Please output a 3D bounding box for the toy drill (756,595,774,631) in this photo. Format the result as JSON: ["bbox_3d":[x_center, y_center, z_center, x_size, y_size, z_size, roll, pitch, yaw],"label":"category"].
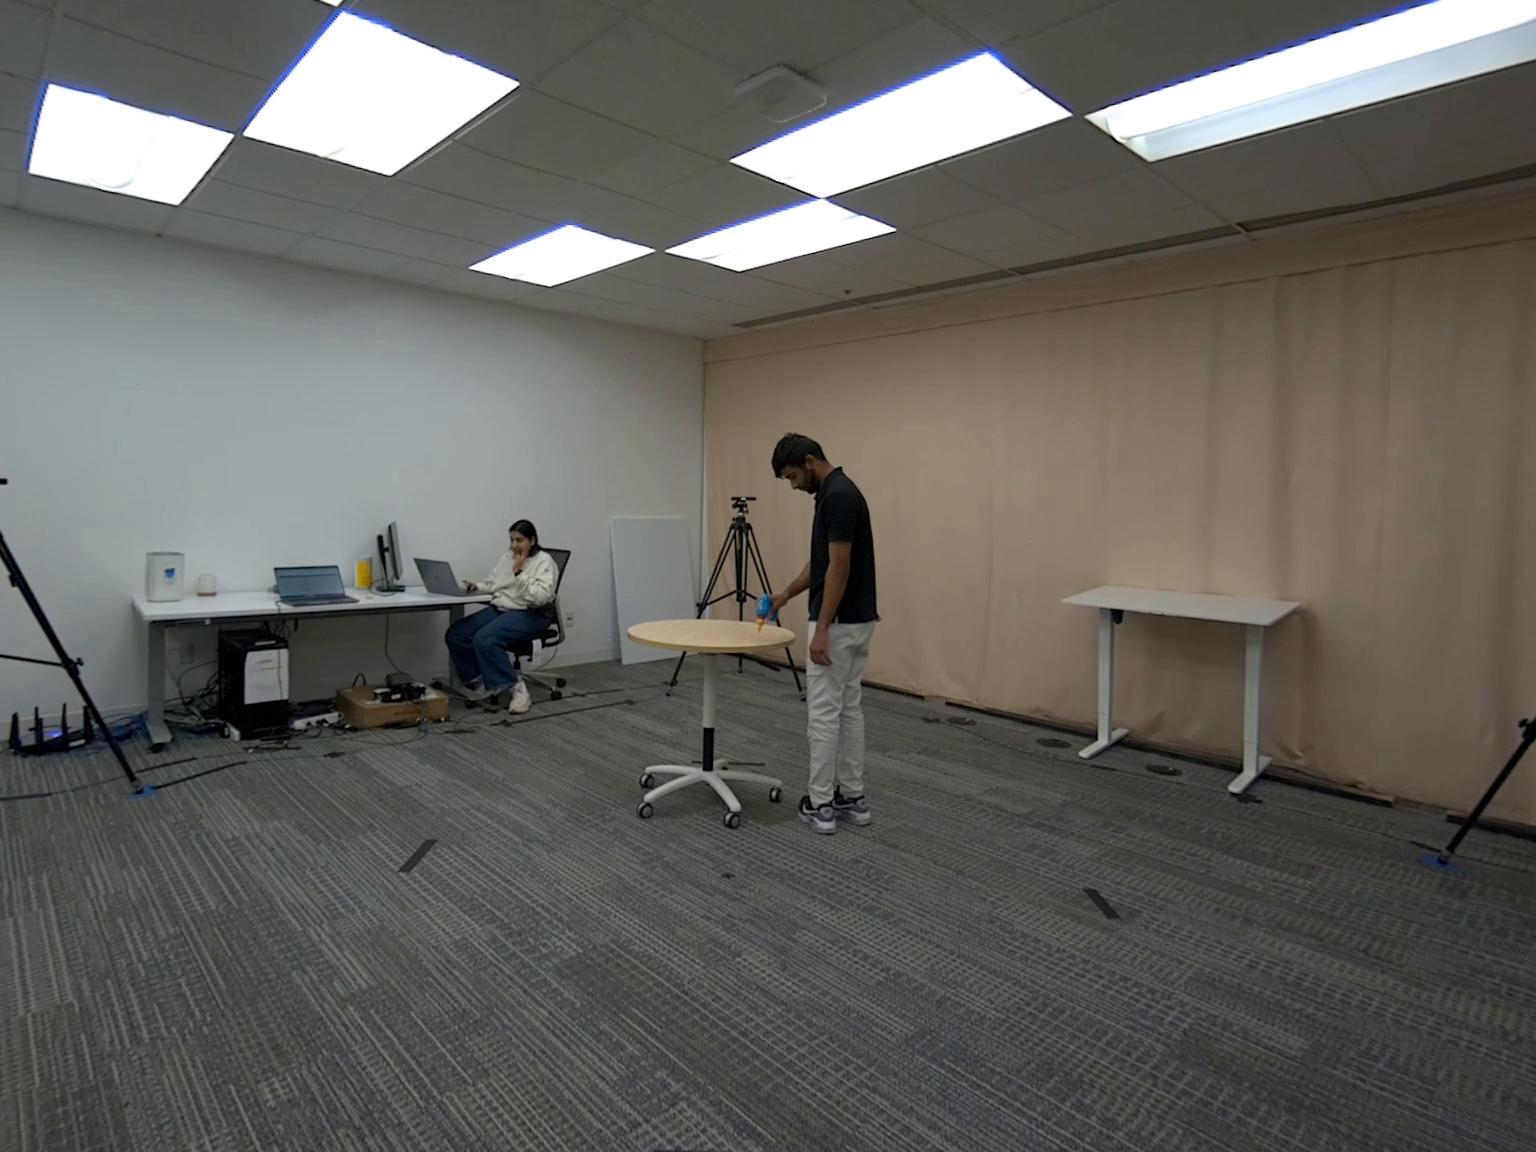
[{"bbox_3d":[0.001,0.168,3.648,0.142,0.171,0.062,20,-21,-33],"label":"toy drill"}]
